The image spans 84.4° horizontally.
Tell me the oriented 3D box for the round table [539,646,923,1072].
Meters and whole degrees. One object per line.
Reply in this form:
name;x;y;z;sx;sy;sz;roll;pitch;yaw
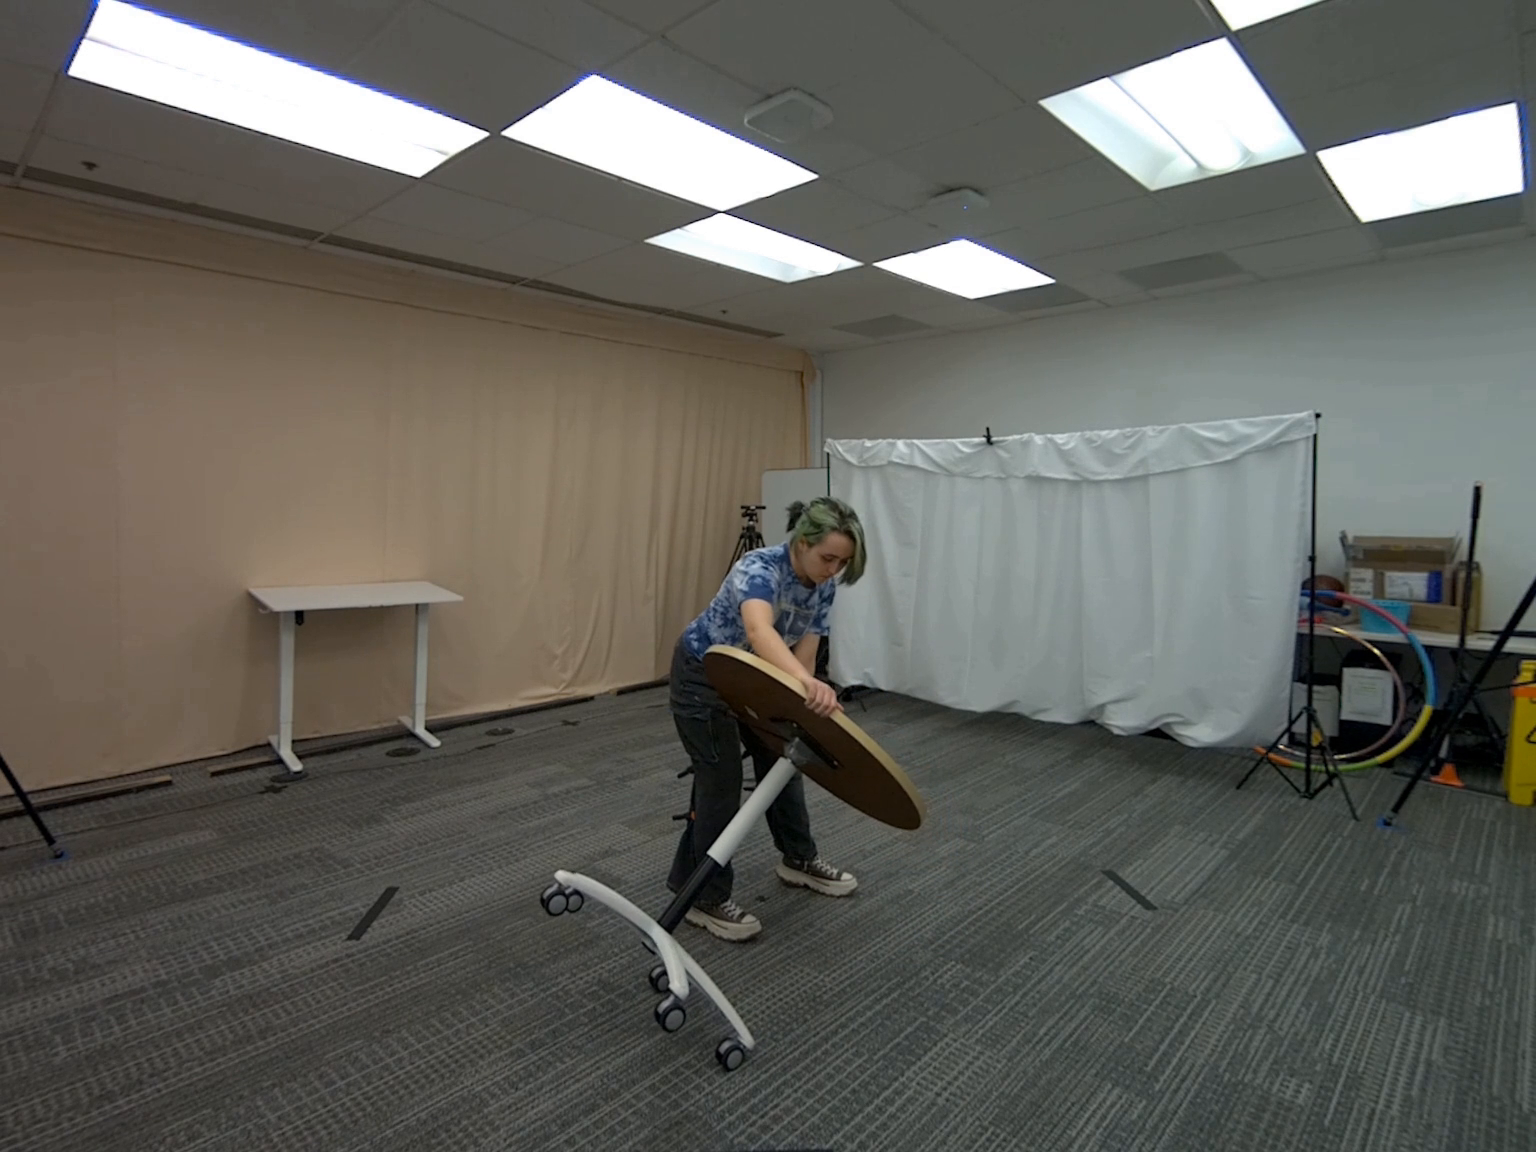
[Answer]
round table;-0.122;0.736;2.288;0.790;0.745;0.787;-50;26;-19
